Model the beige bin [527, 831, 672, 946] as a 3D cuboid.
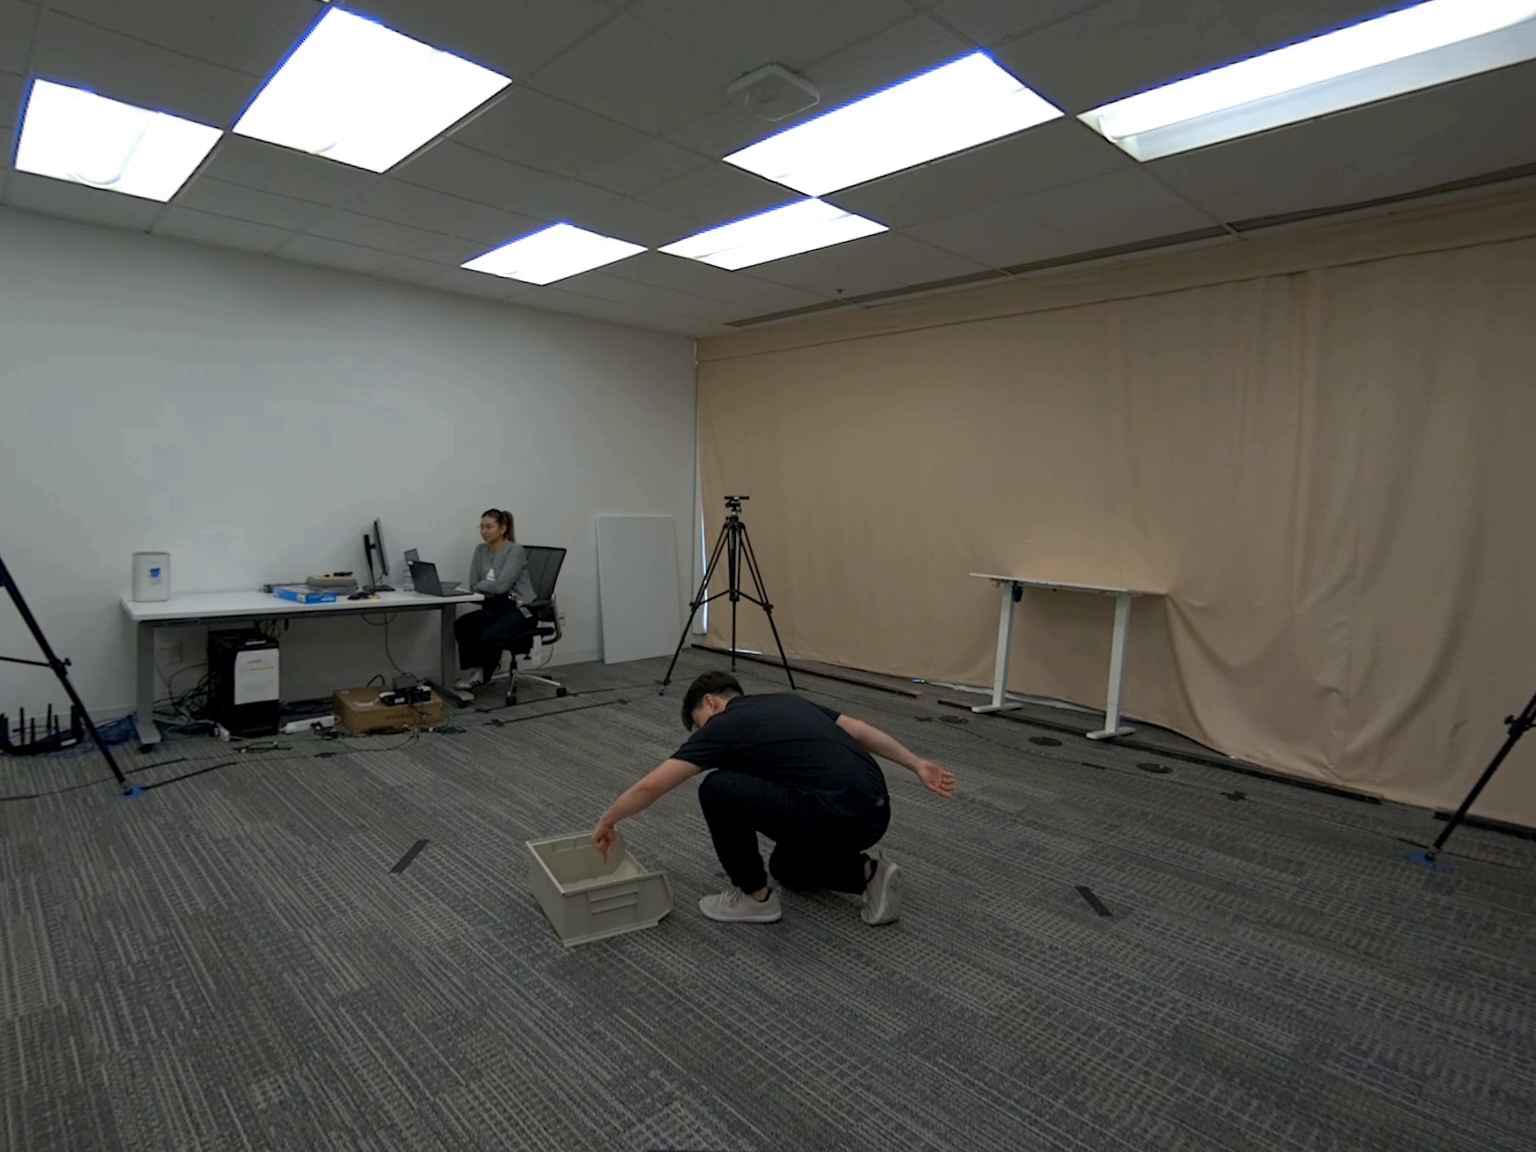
[{"bbox_3d":[-0.576,1.023,2.838,0.370,0.188,0.432,-3,7,-30],"label":"beige bin"}]
